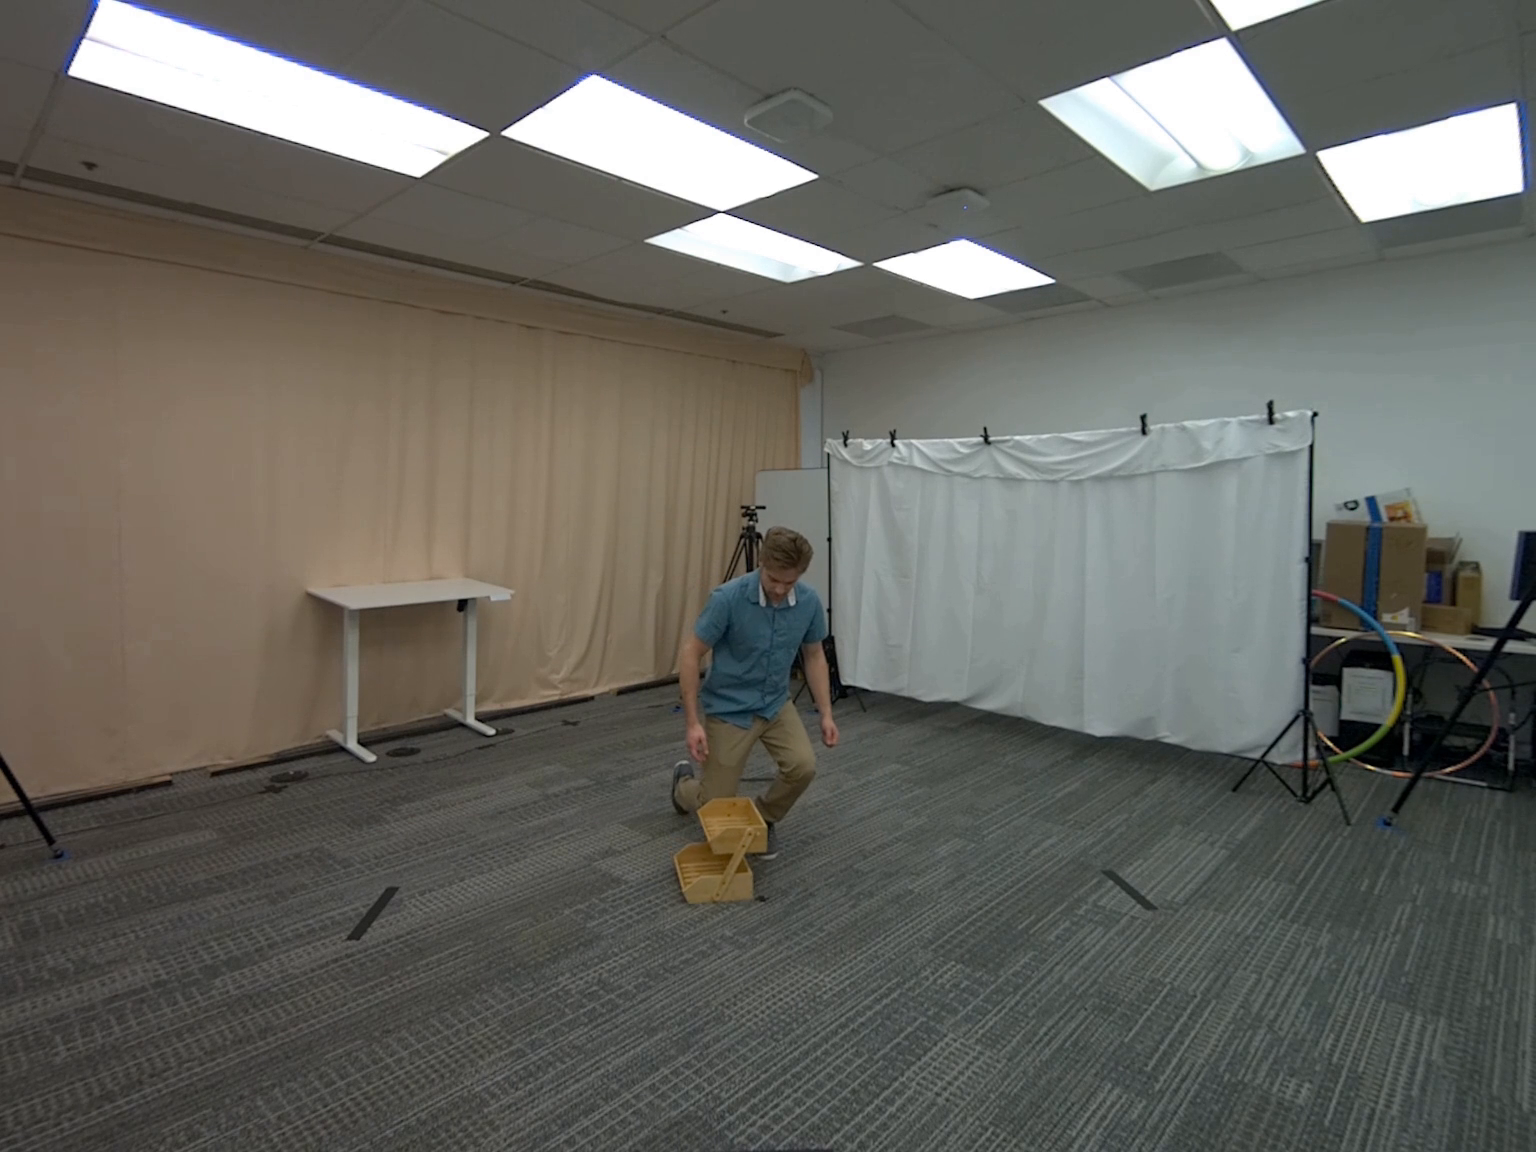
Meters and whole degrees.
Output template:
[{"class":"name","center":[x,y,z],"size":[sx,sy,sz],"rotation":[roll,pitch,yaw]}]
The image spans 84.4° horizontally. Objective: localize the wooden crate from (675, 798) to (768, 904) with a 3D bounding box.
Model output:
[{"class":"wooden crate","center":[-0.187,1.000,3.105],"size":[0.298,0.273,0.329],"rotation":[-1,4,-12]}]
